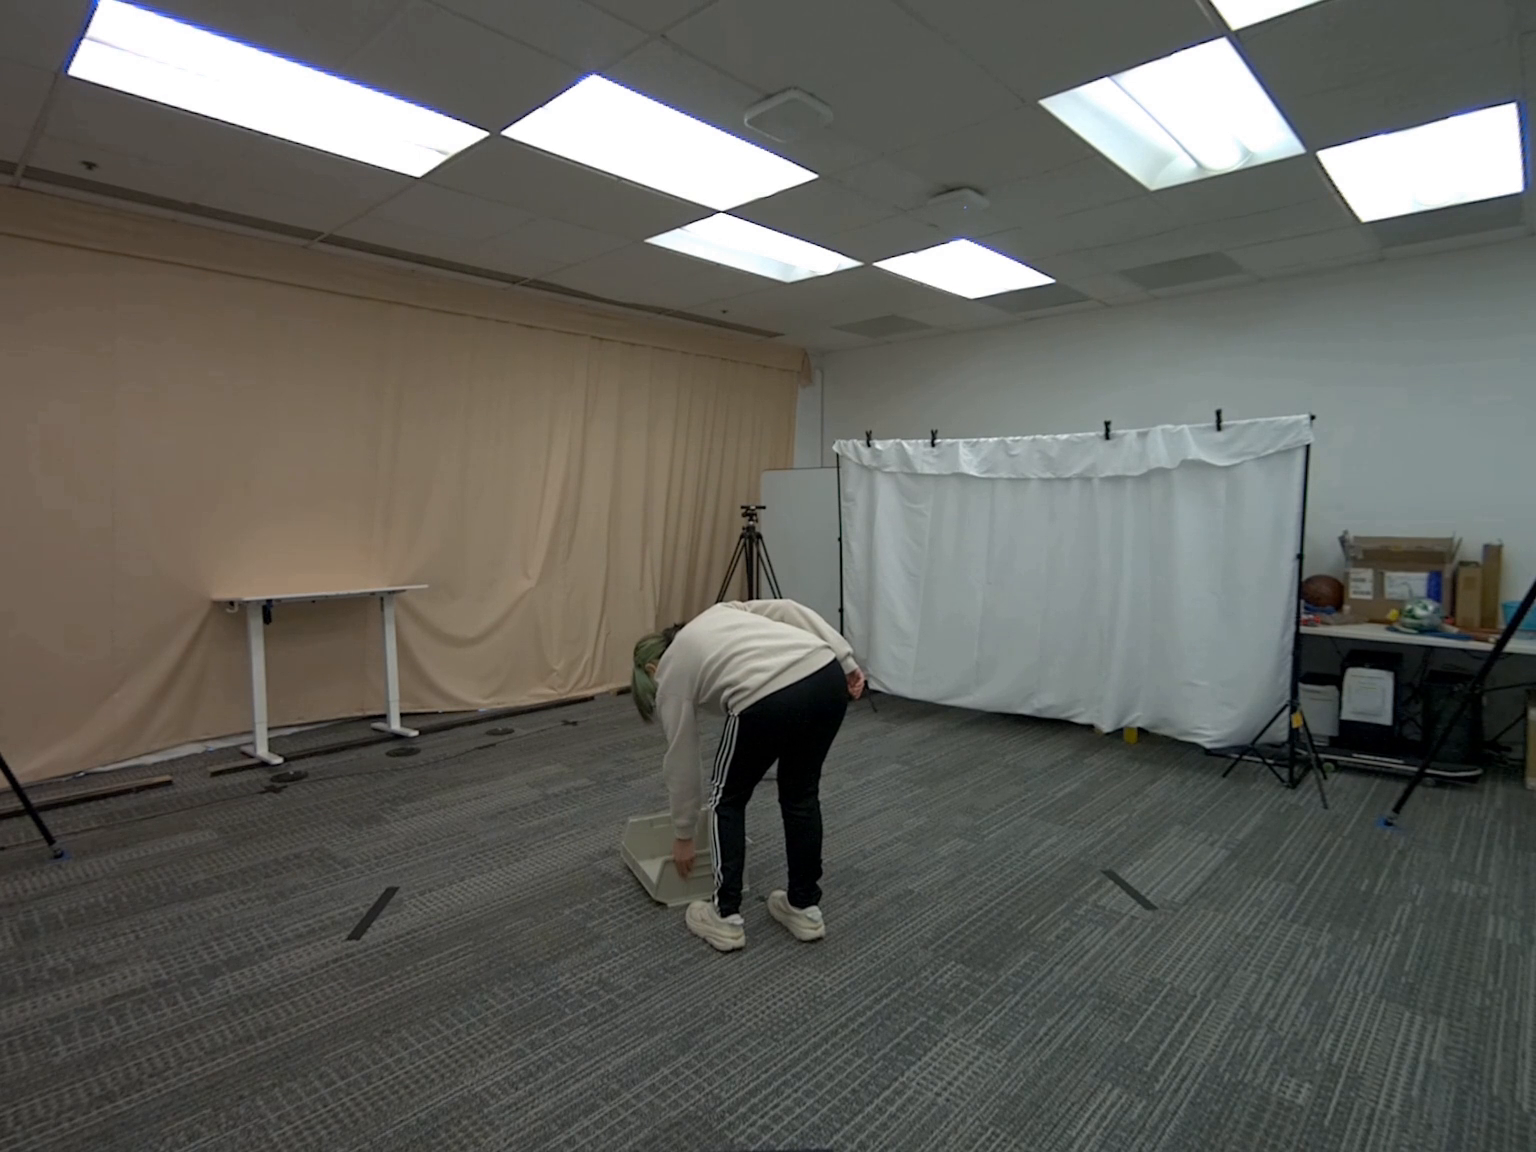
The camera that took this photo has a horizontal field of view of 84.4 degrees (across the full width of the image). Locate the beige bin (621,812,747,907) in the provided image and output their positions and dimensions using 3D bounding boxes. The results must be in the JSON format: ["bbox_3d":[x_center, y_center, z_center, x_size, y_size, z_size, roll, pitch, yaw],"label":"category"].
[{"bbox_3d":[-0.317,1.042,3.156,0.368,0.188,0.433,-2,4,-25],"label":"beige bin"}]
